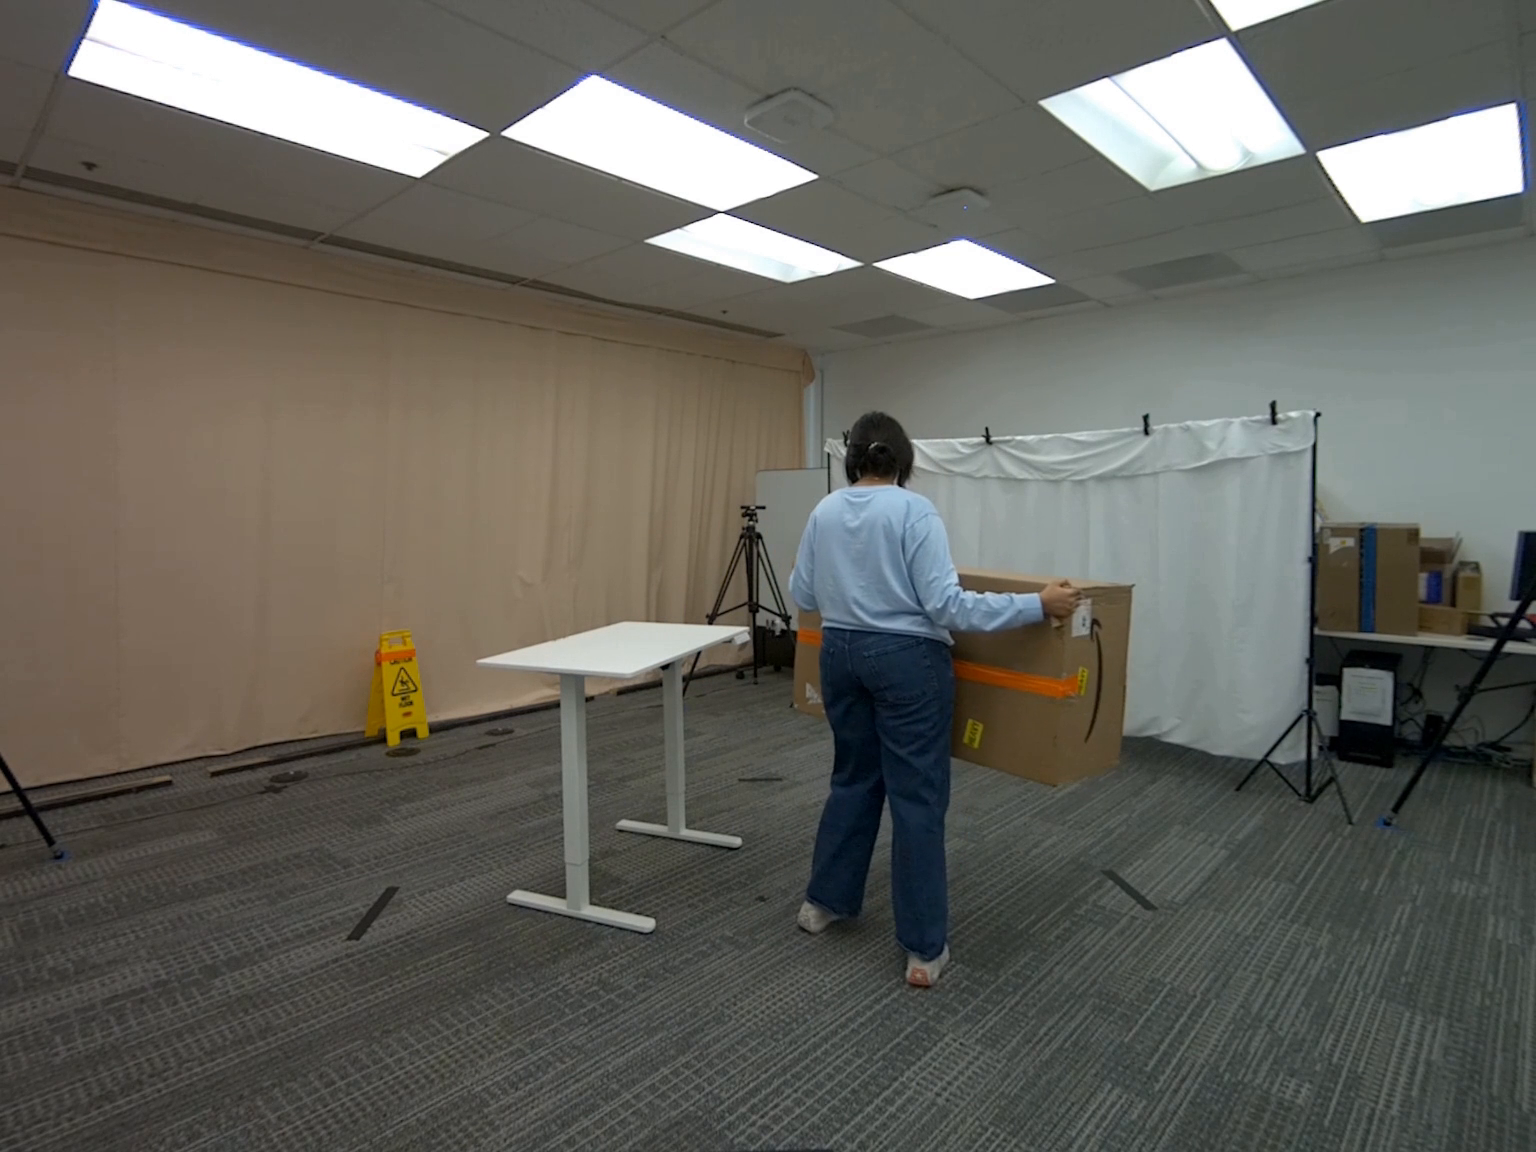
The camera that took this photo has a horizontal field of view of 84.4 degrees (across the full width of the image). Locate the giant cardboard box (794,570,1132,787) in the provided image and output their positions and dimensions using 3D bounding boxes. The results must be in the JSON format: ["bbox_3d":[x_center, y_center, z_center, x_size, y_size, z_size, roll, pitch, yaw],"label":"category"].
[{"bbox_3d":[0.619,0.264,2.884,0.413,0.576,1.061,0,5,-43],"label":"giant cardboard box"}]
